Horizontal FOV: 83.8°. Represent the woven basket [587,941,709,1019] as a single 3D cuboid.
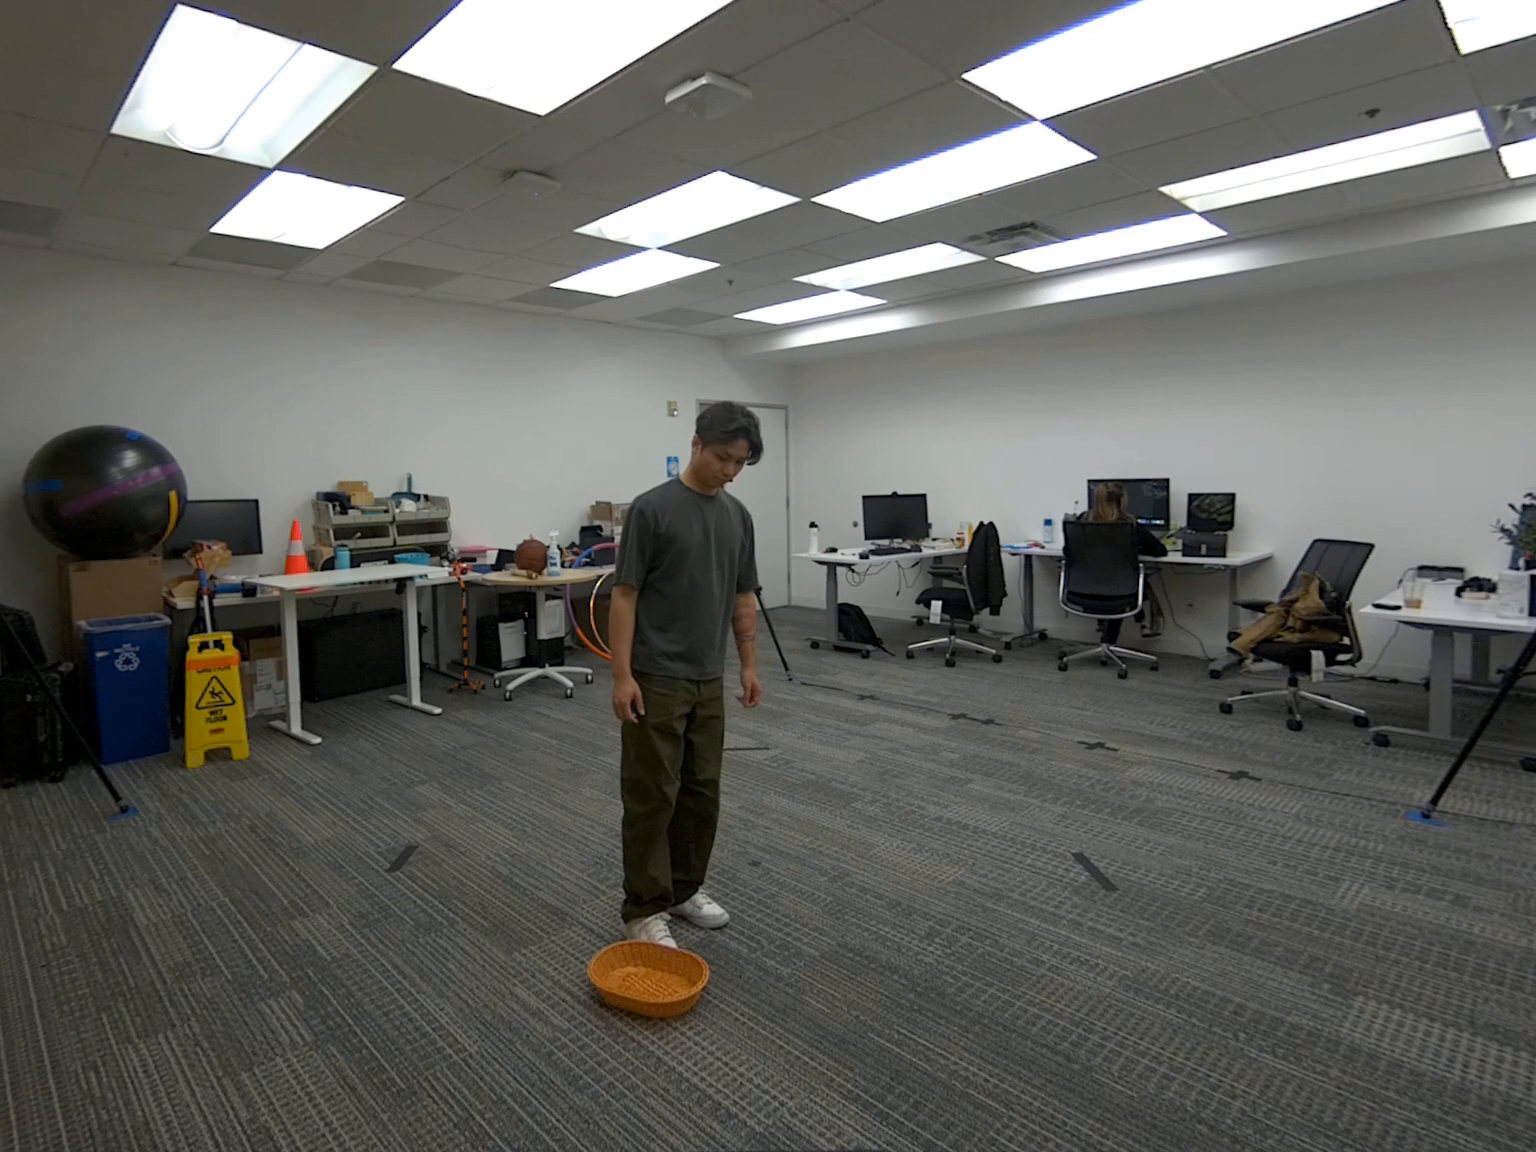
[{"bbox_3d":[-0.323,1.109,2.330,0.360,0.073,0.247,3,9,31],"label":"woven basket"}]
